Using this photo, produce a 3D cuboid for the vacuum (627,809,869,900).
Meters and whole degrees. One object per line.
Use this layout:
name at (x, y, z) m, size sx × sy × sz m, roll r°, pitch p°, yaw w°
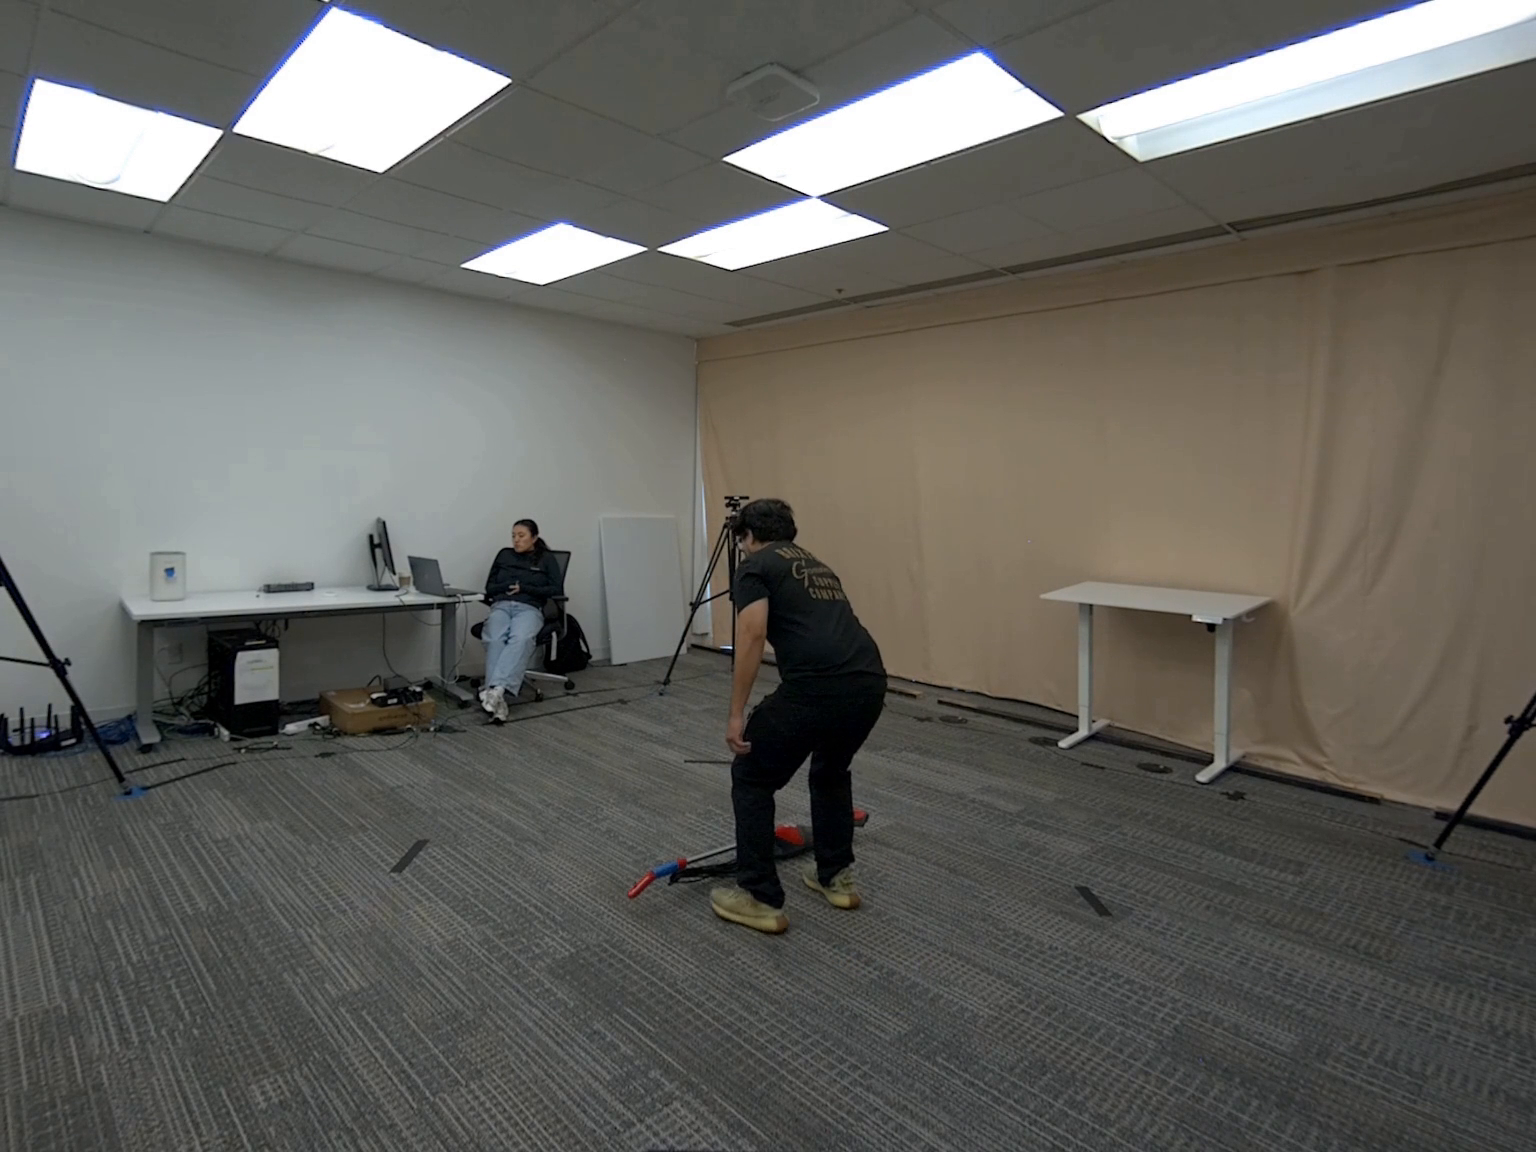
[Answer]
vacuum at (-0.081, 1.045, 3.143) m, size 1.026 × 0.143 × 0.259 m, roll -4°, pitch 7°, yaw -42°
